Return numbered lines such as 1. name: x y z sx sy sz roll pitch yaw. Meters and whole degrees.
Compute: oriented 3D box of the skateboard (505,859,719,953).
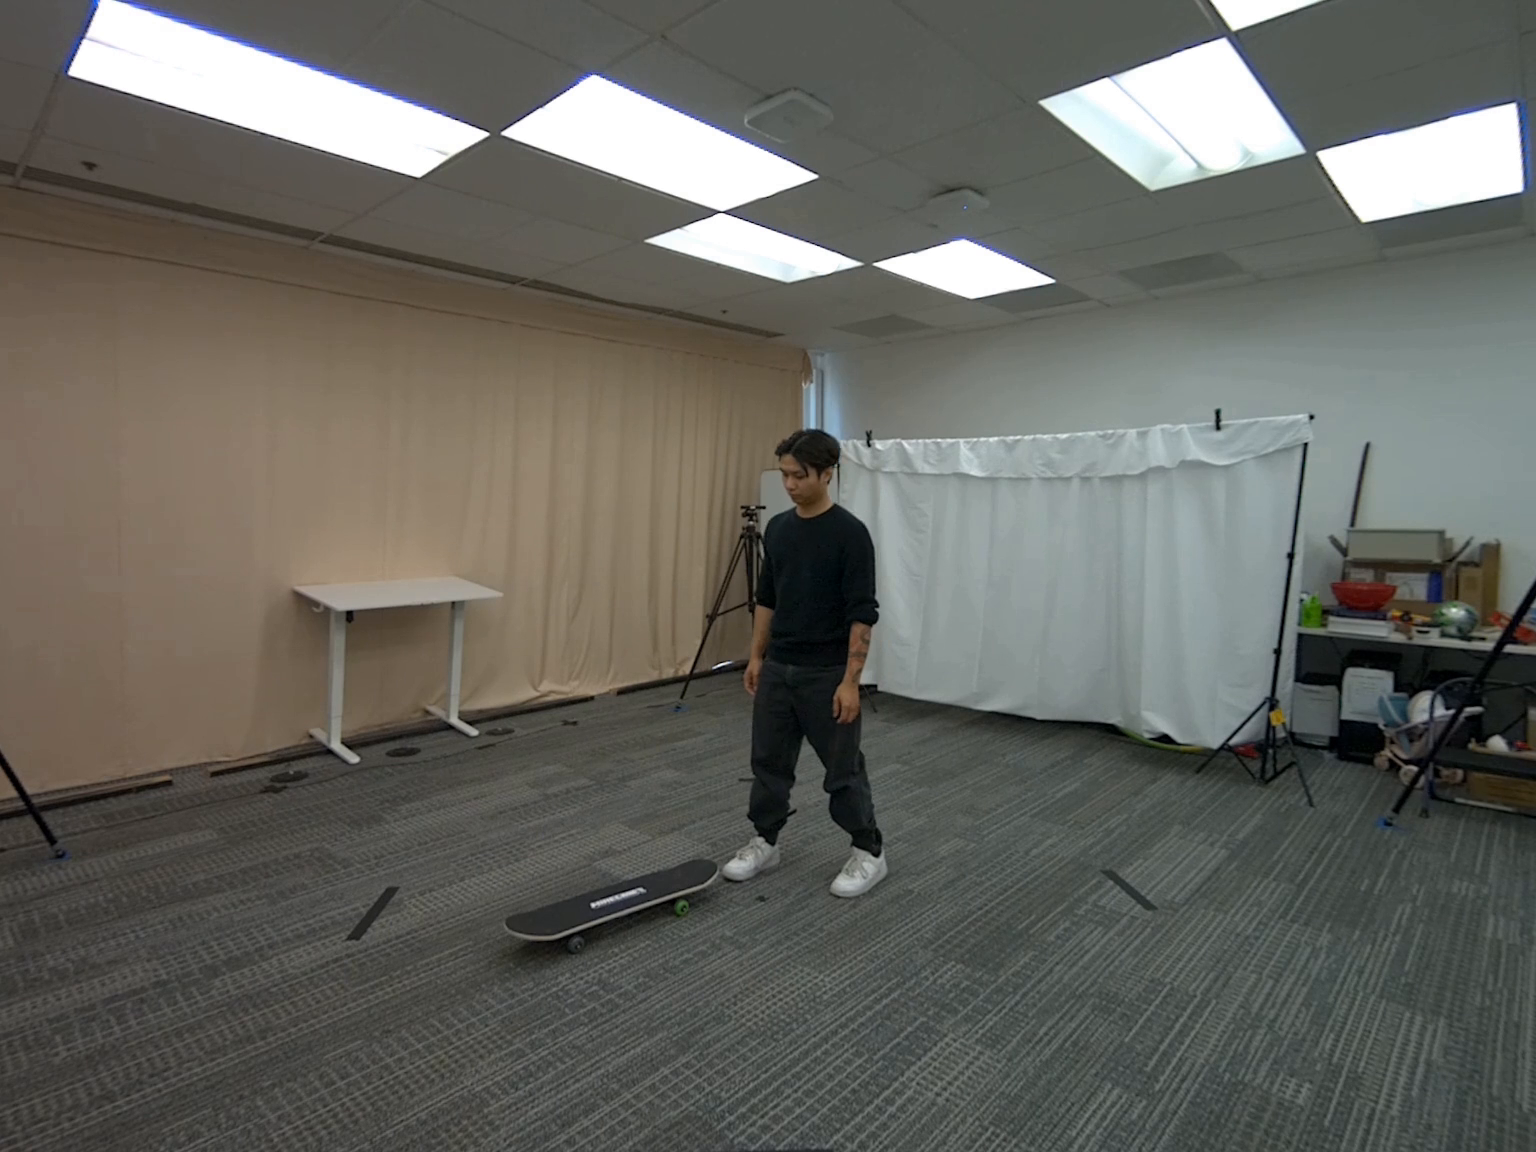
1. skateboard: -0.500 1.110 2.802 0.762 0.110 0.200 -4 5 -38
